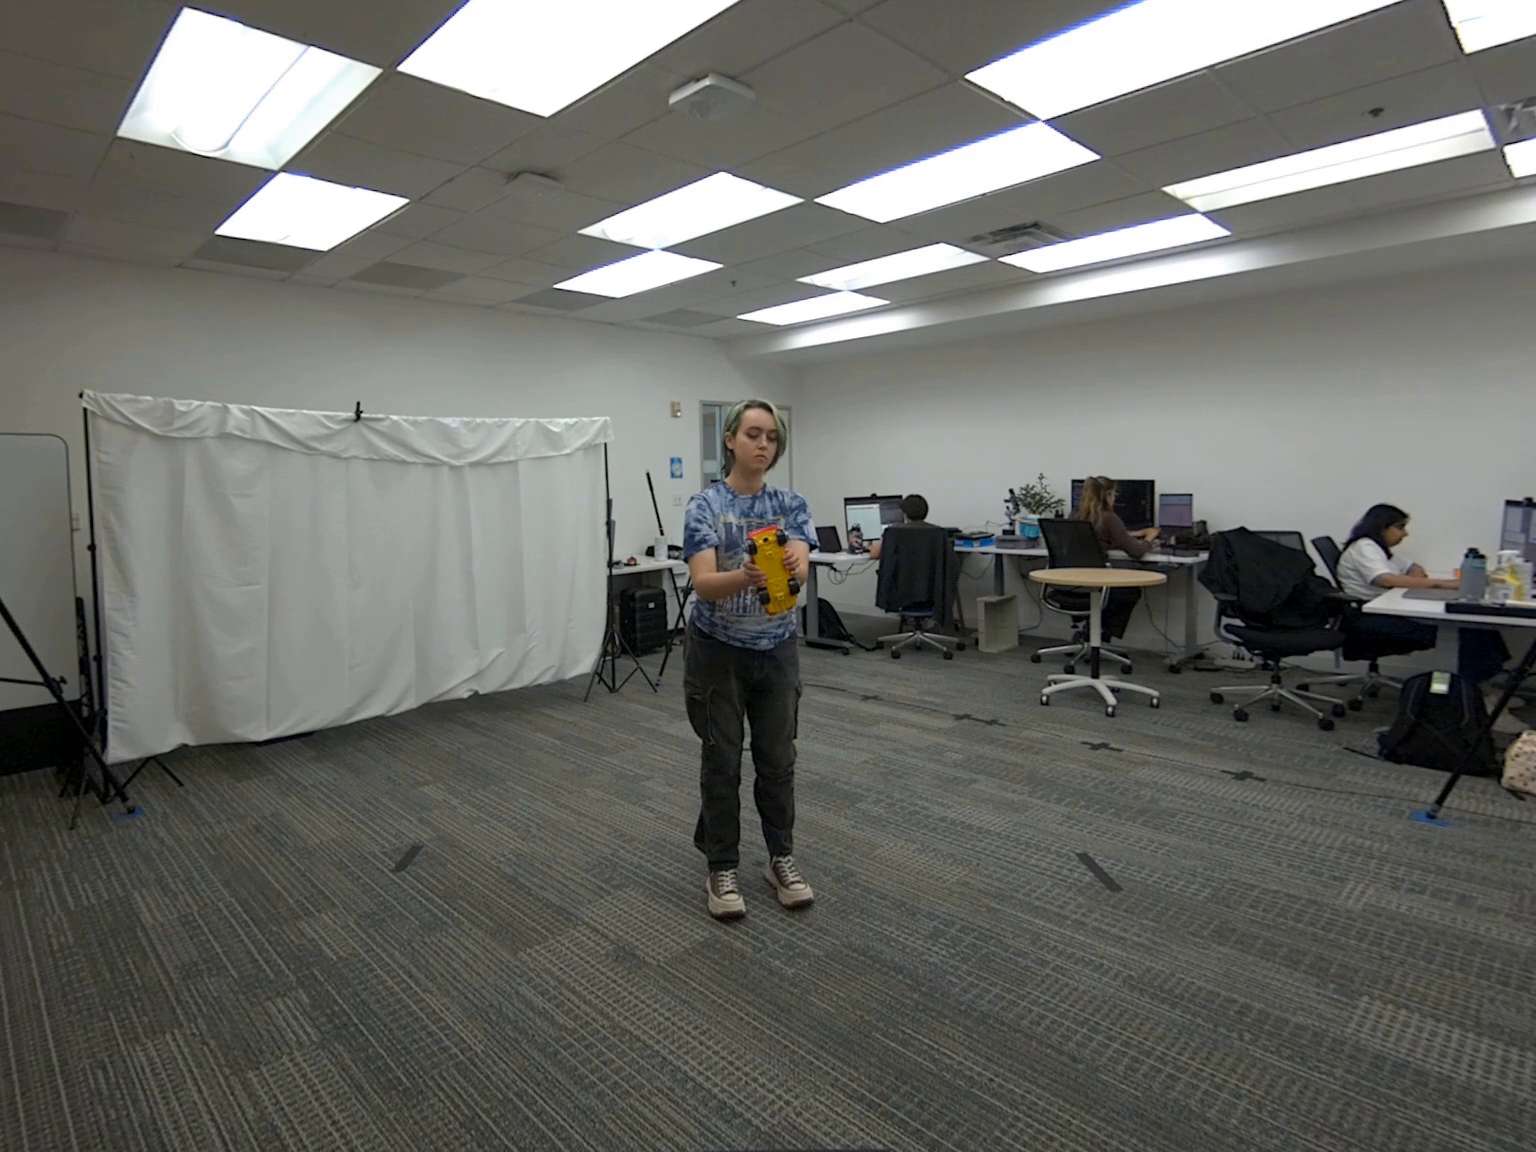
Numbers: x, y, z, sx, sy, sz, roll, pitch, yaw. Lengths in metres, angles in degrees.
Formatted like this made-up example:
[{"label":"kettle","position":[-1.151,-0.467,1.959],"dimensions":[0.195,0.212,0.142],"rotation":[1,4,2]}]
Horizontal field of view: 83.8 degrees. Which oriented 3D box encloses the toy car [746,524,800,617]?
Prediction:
[{"label":"toy car","position":[0.013,0.003,2.344],"dimensions":[0.129,0.248,0.086],"rotation":[-16,26,-10]}]
